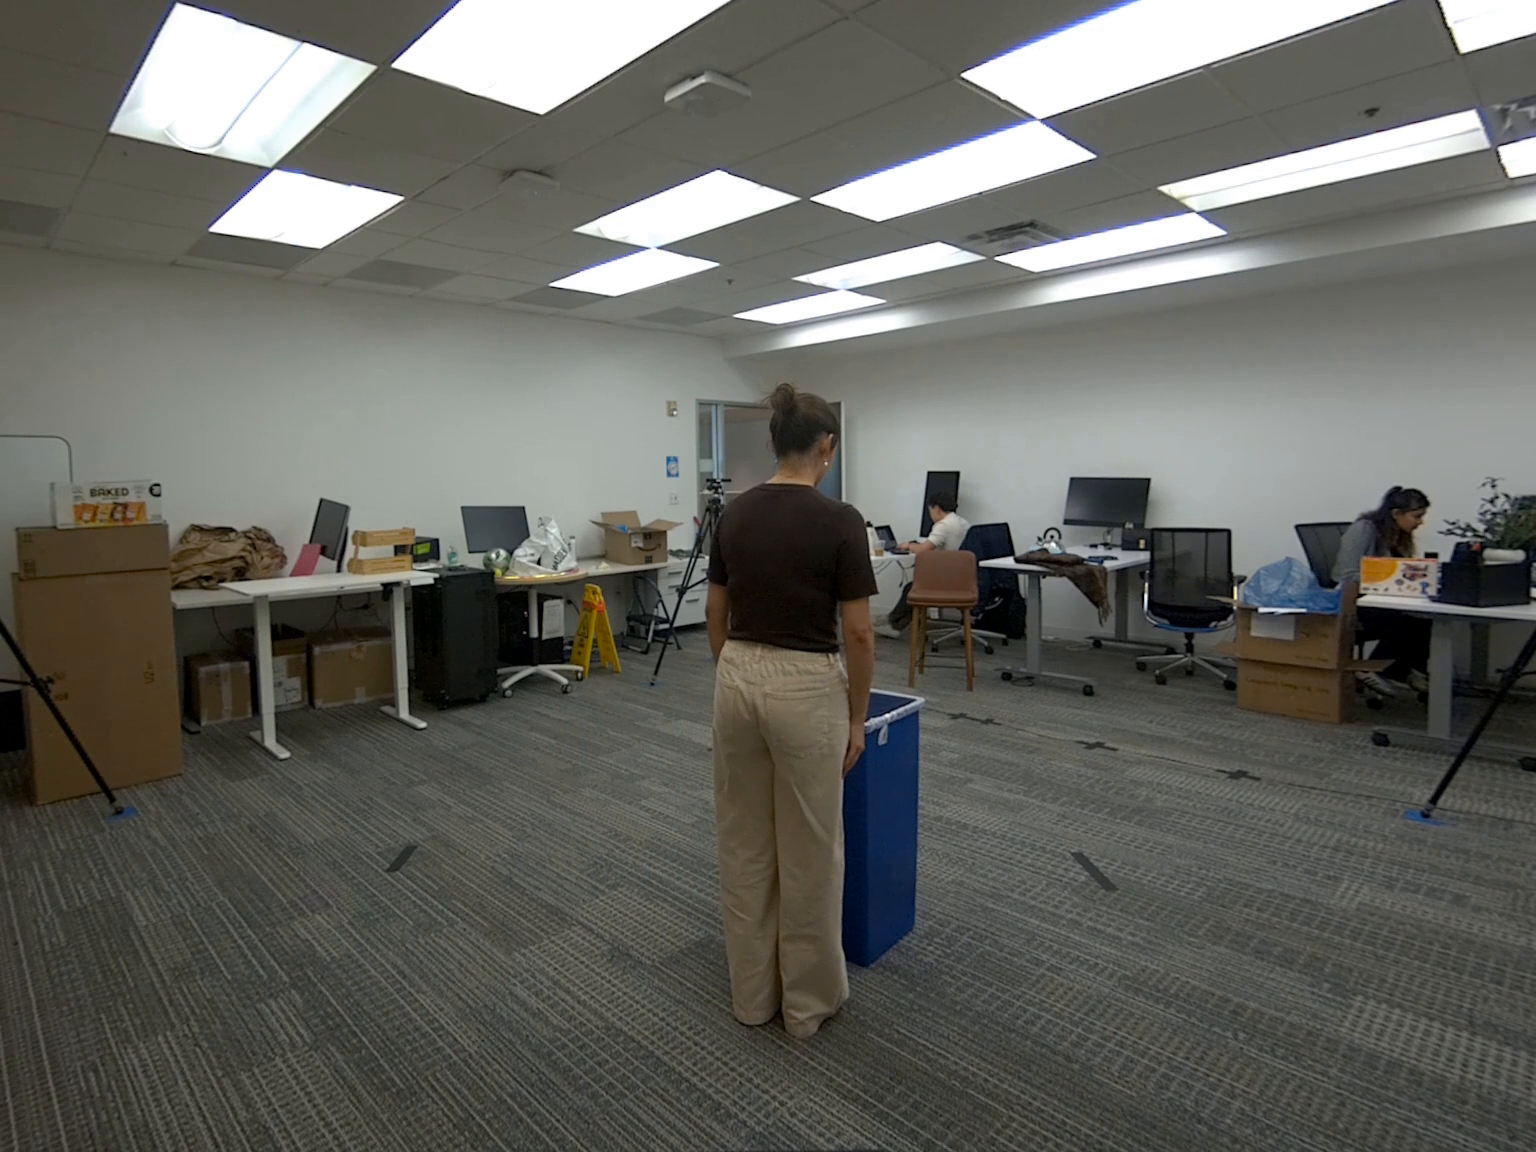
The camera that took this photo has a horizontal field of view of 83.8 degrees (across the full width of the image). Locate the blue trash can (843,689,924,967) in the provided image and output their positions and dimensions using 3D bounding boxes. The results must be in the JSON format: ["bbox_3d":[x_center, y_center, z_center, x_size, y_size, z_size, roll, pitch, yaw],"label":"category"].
[{"bbox_3d":[0.242,0.736,2.616,0.385,0.711,0.368,3,5,39],"label":"blue trash can"}]
